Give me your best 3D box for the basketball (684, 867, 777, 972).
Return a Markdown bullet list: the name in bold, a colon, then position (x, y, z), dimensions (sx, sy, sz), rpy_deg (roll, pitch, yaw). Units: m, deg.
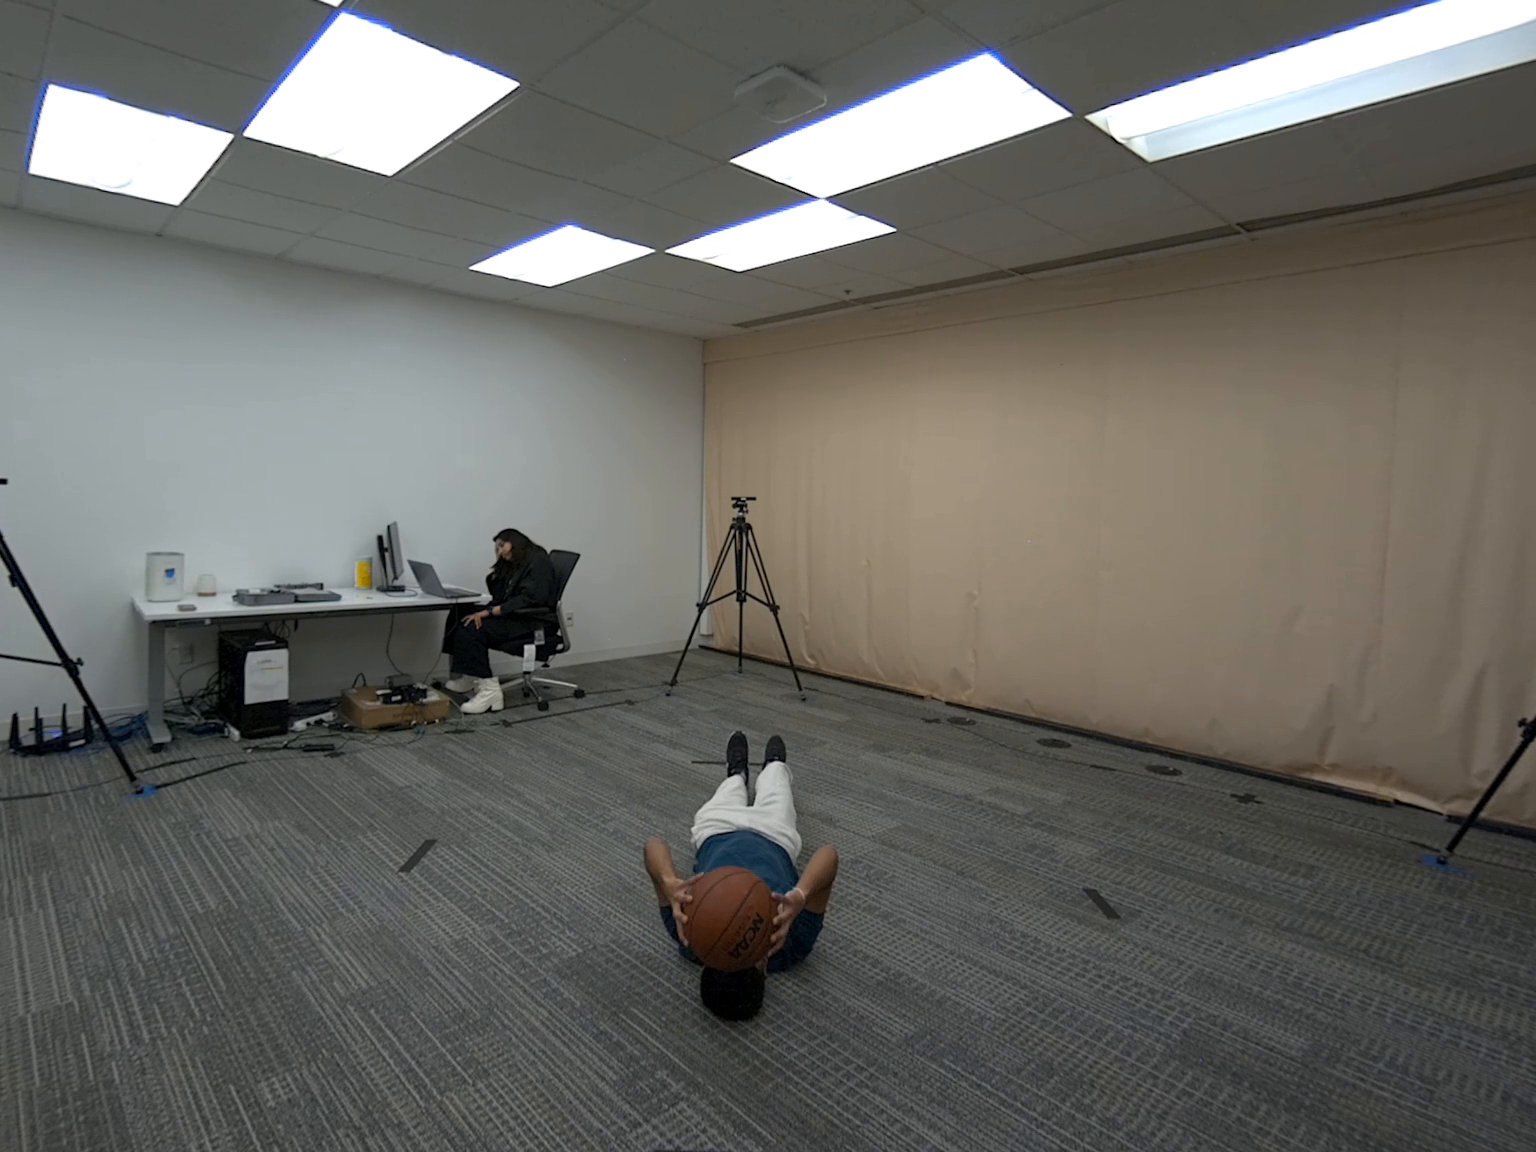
- **basketball**: position (-0.095, 0.852, 2.091), dimensions (0.236, 0.235, 0.237), rpy_deg (1, 4, -1)
